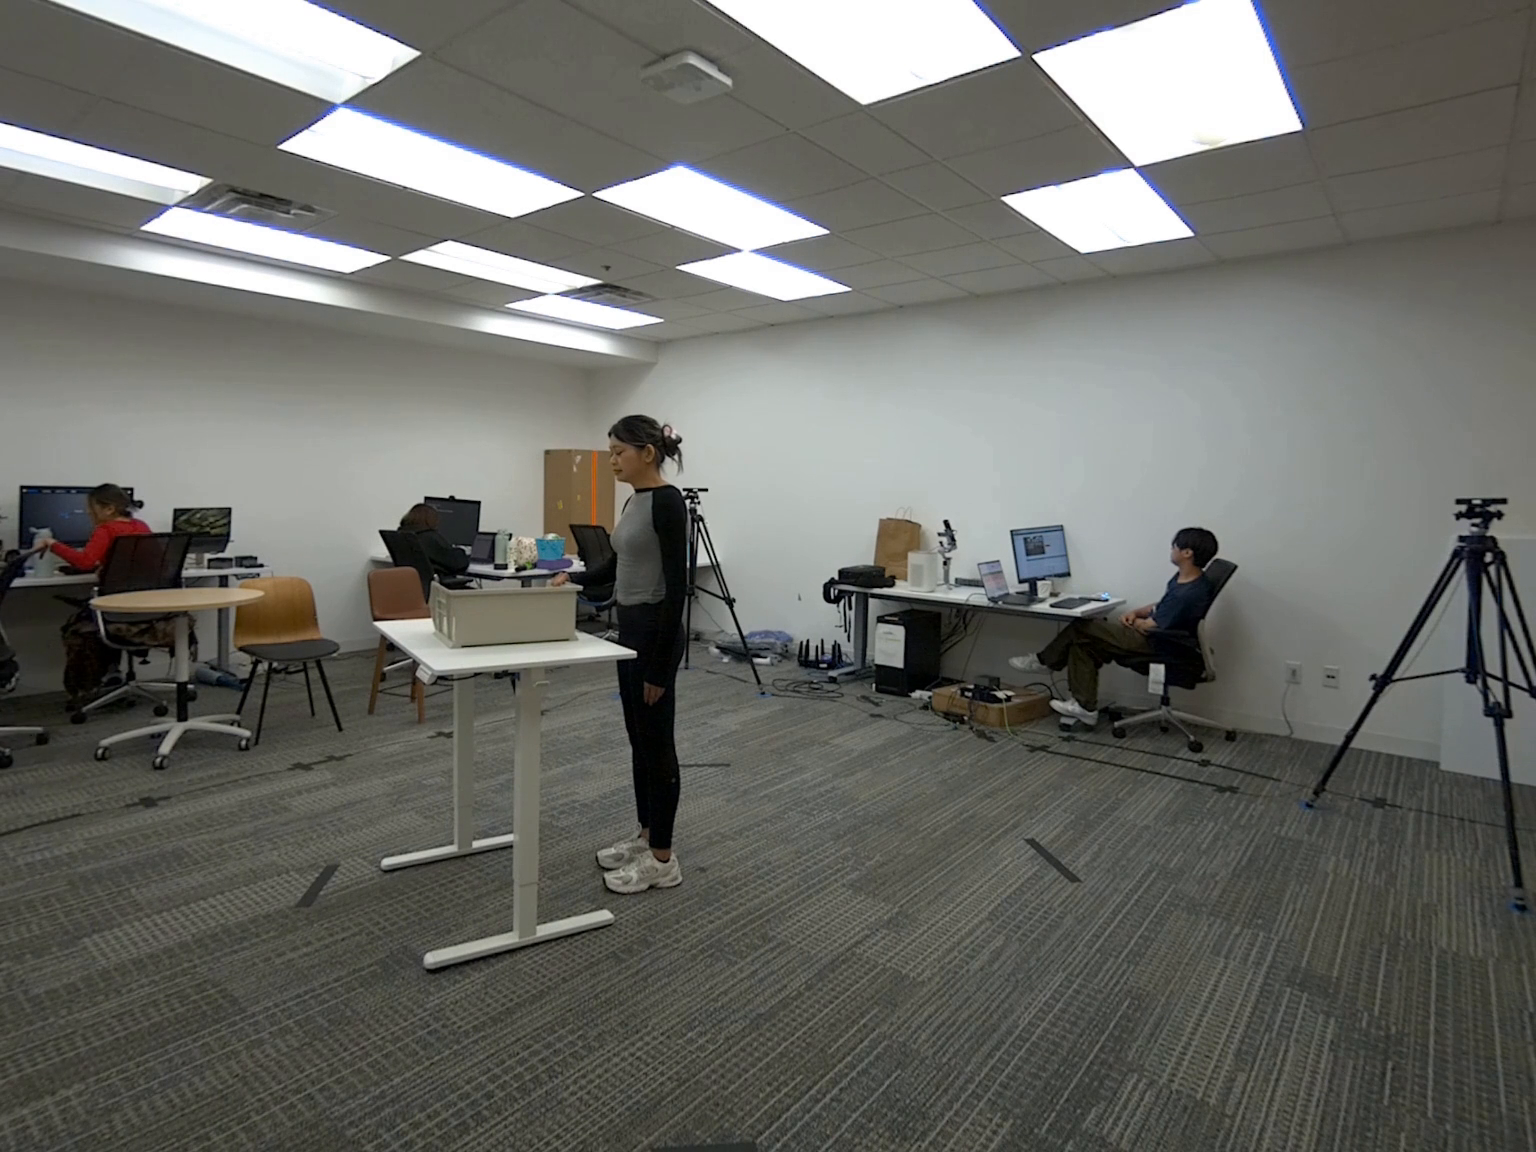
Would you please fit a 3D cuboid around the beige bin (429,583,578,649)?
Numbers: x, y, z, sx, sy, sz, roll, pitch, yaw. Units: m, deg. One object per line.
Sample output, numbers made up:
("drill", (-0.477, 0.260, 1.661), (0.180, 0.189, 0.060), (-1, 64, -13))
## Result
("beige bin", (-0.900, 0.116, 2.852), (0.411, 0.188, 0.389), (-1, 6, -29))
